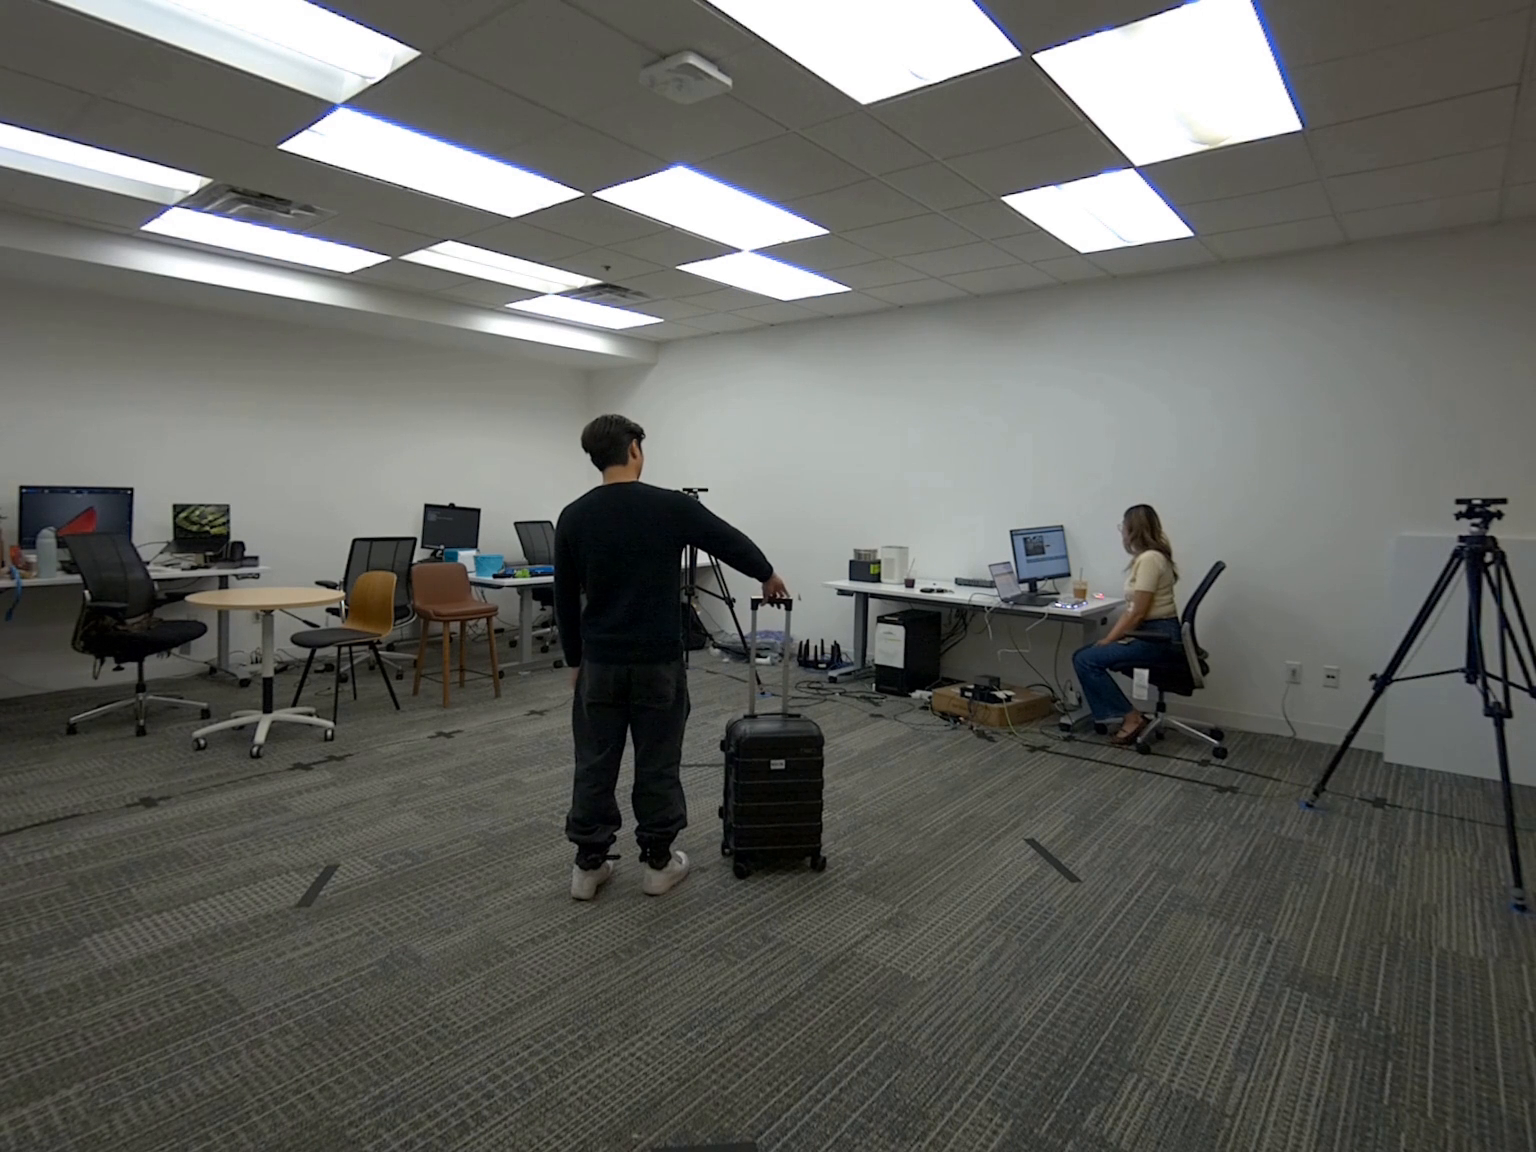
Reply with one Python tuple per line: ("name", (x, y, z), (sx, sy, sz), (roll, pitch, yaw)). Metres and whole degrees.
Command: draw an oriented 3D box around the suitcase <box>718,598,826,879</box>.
("suitcase", (0.015, 0.592, 3.165), (0.380, 0.974, 0.261), (0, 5, -9))
